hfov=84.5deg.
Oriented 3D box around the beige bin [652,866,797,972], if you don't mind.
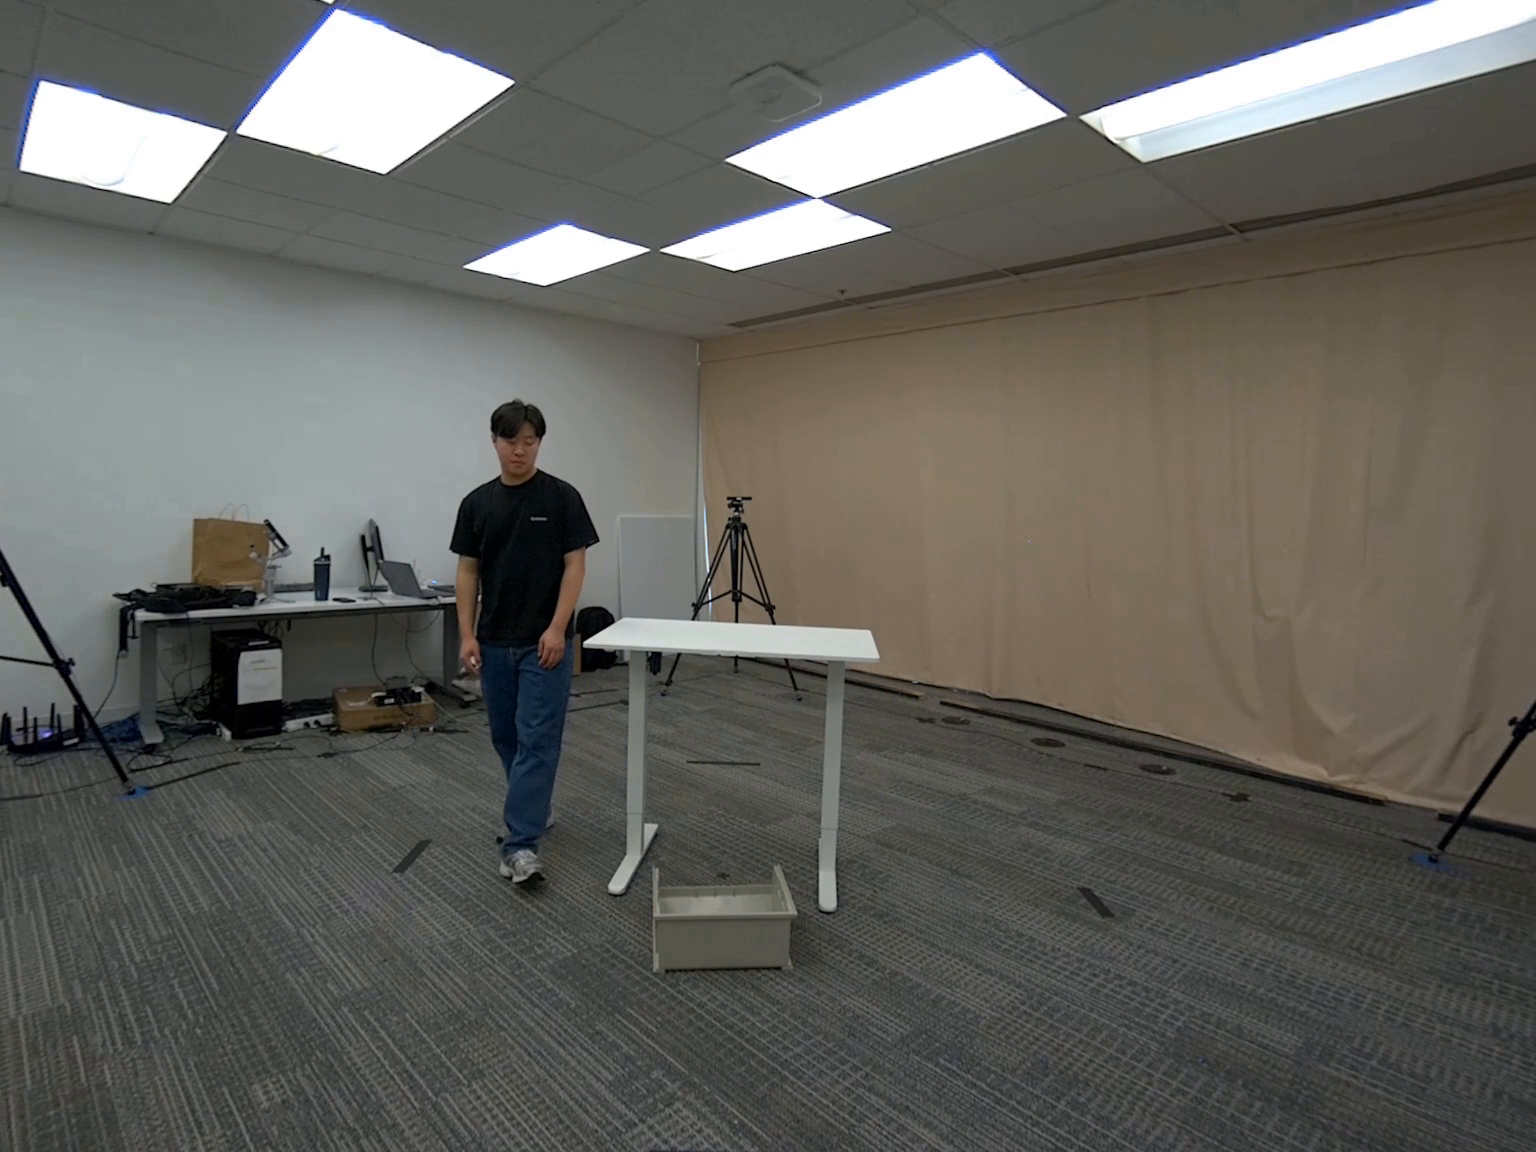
[{"bbox_3d":[-0.155,1.062,2.639,0.420,0.188,0.381,1,6,-7],"label":"beige bin"}]
